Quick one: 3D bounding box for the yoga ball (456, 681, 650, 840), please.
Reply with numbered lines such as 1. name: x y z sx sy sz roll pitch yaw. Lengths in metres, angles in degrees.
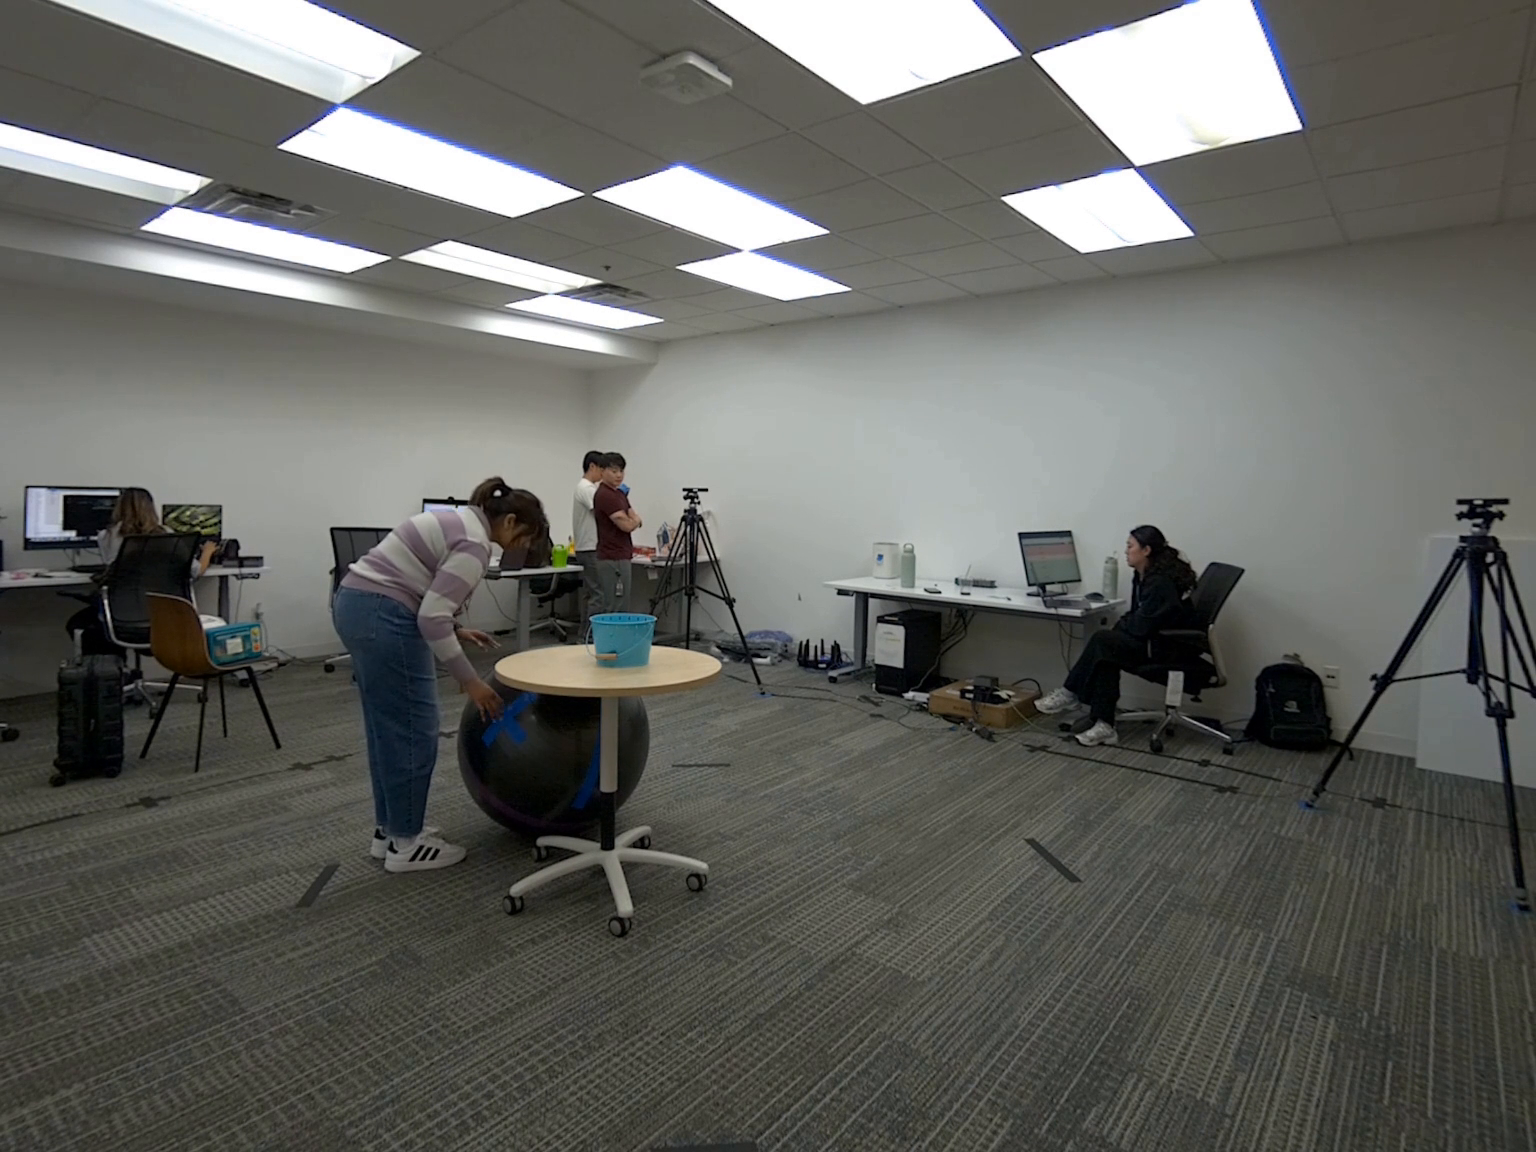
1. yoga ball: -0.873 0.656 3.447 0.757 0.755 0.762 1 4 -2
